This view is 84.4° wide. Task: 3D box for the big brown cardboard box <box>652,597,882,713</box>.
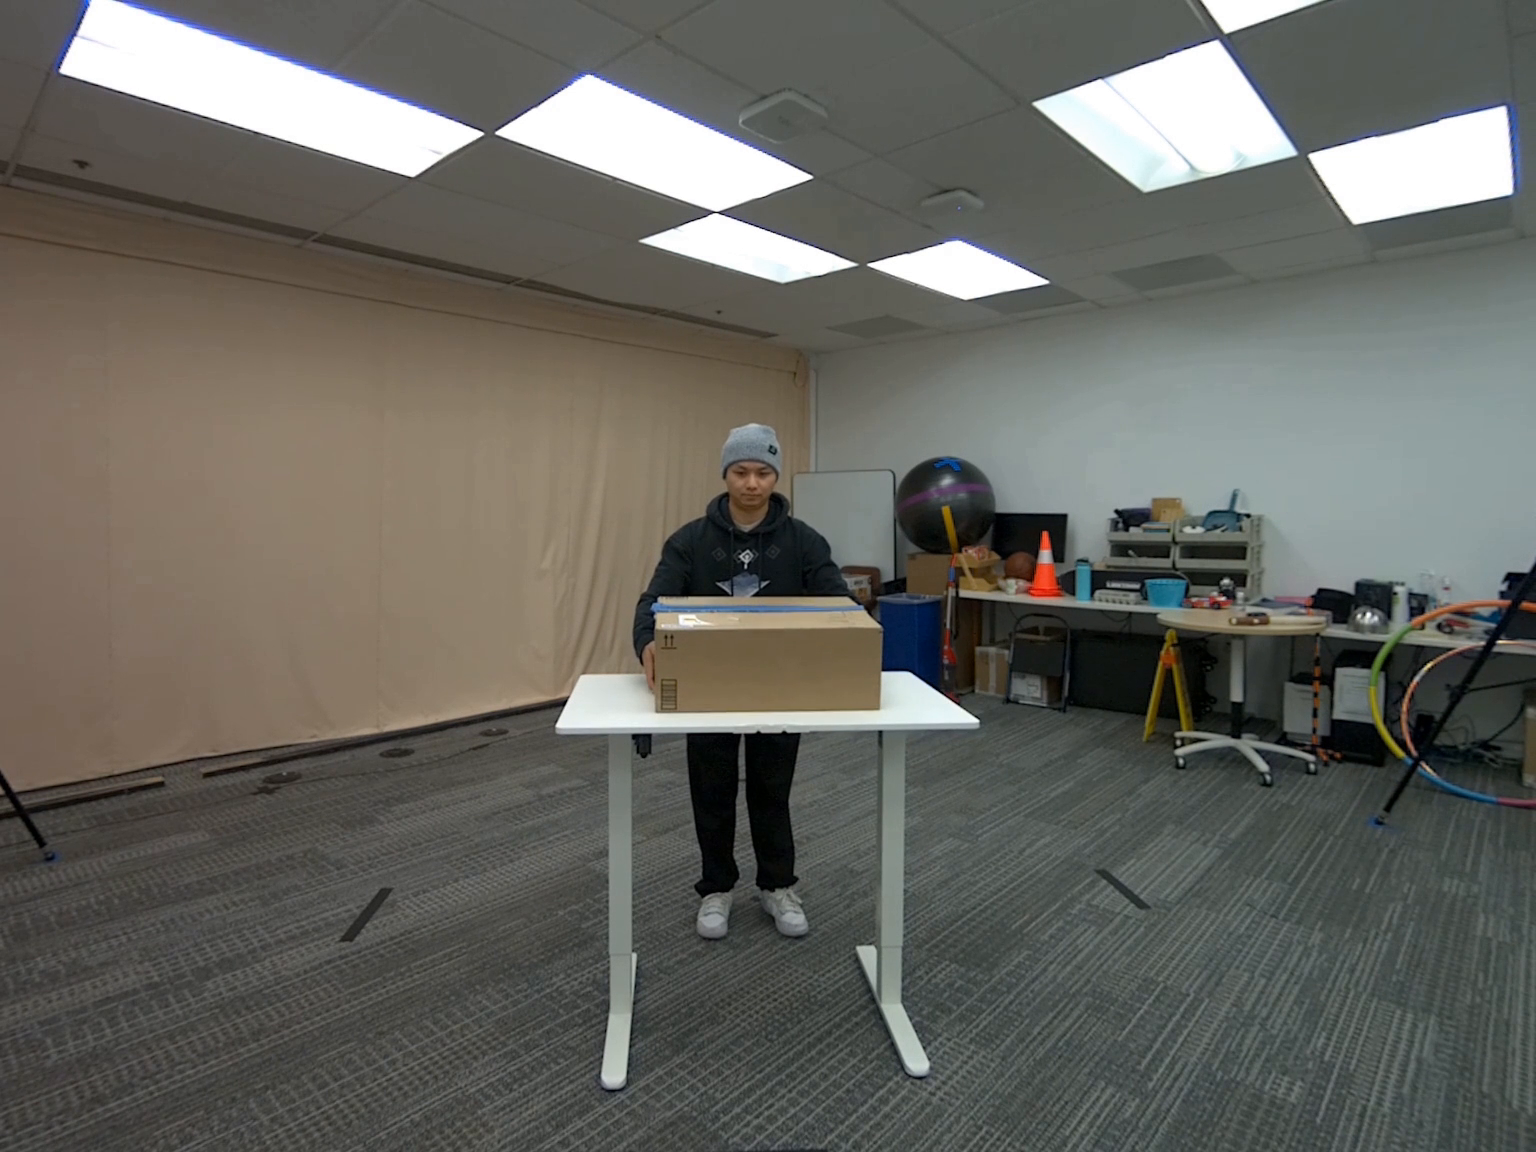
[{"bbox_3d":[-0.022,0.197,2.292,0.586,0.232,0.421,1,8,-5],"label":"big brown cardboard box"}]
